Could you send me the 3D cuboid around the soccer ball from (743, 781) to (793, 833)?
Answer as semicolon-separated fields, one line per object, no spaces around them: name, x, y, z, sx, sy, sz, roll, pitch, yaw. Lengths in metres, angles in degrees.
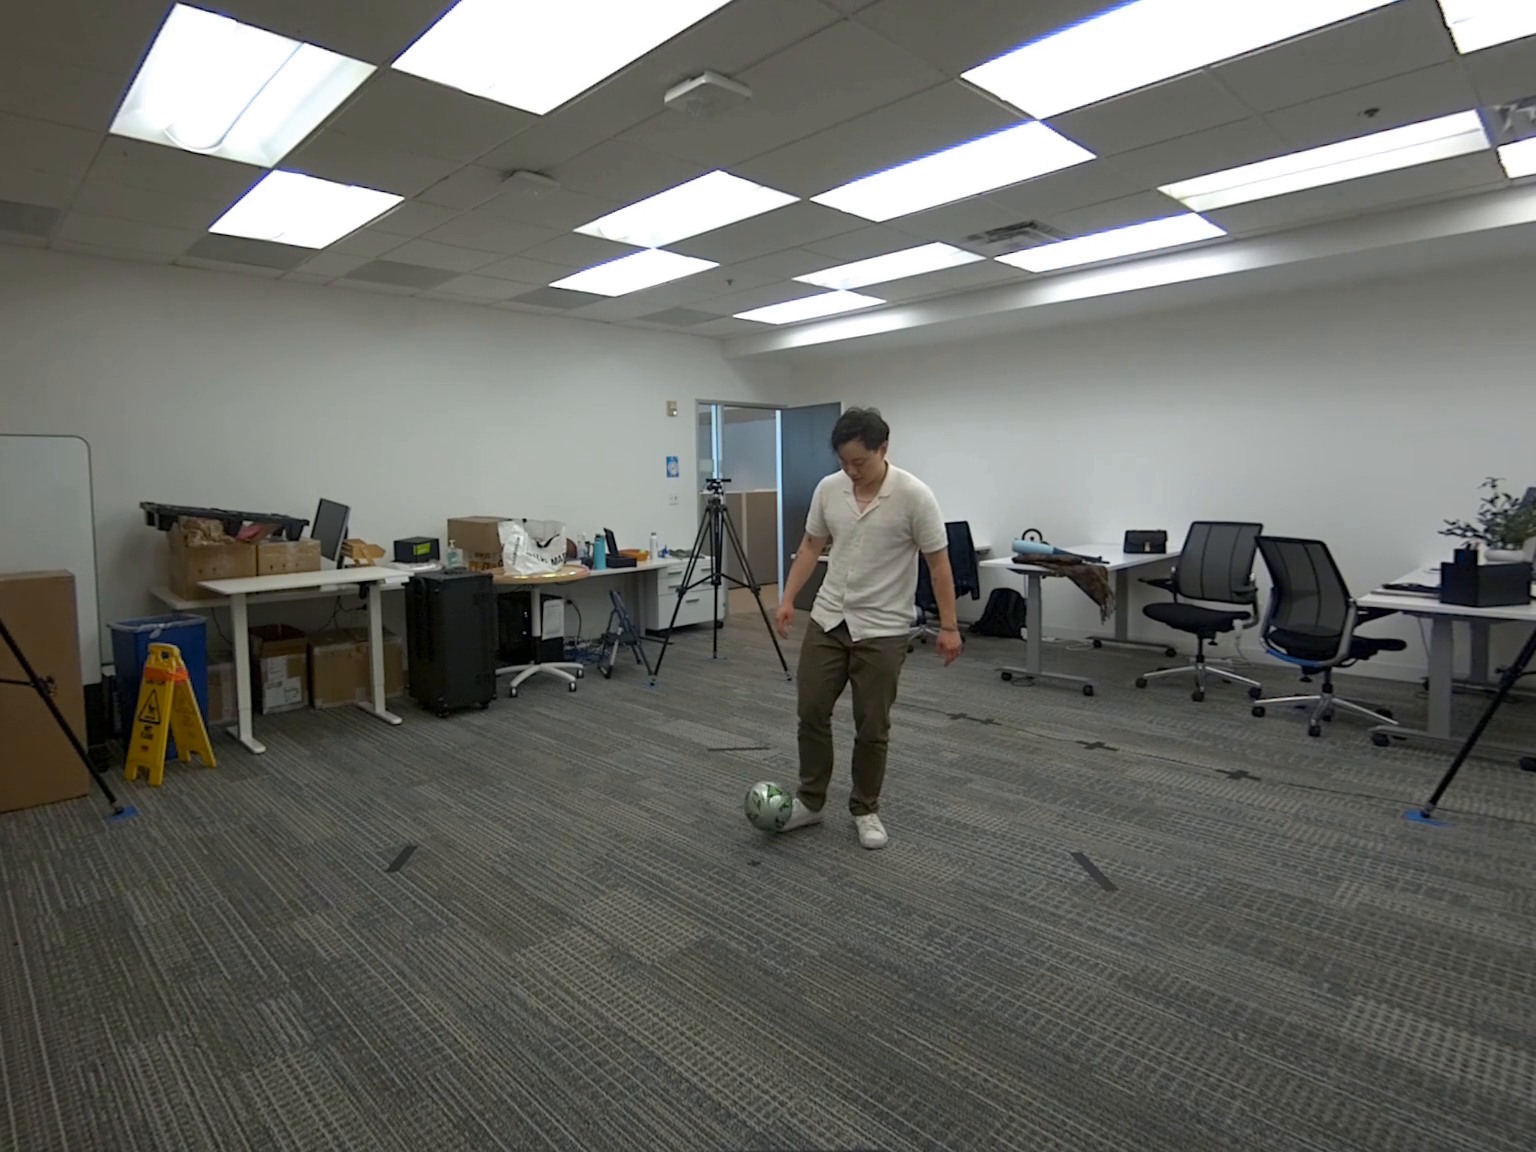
soccer ball;-0.004;0.884;3.262;0.187;0.187;0.188;-1;5;-2
